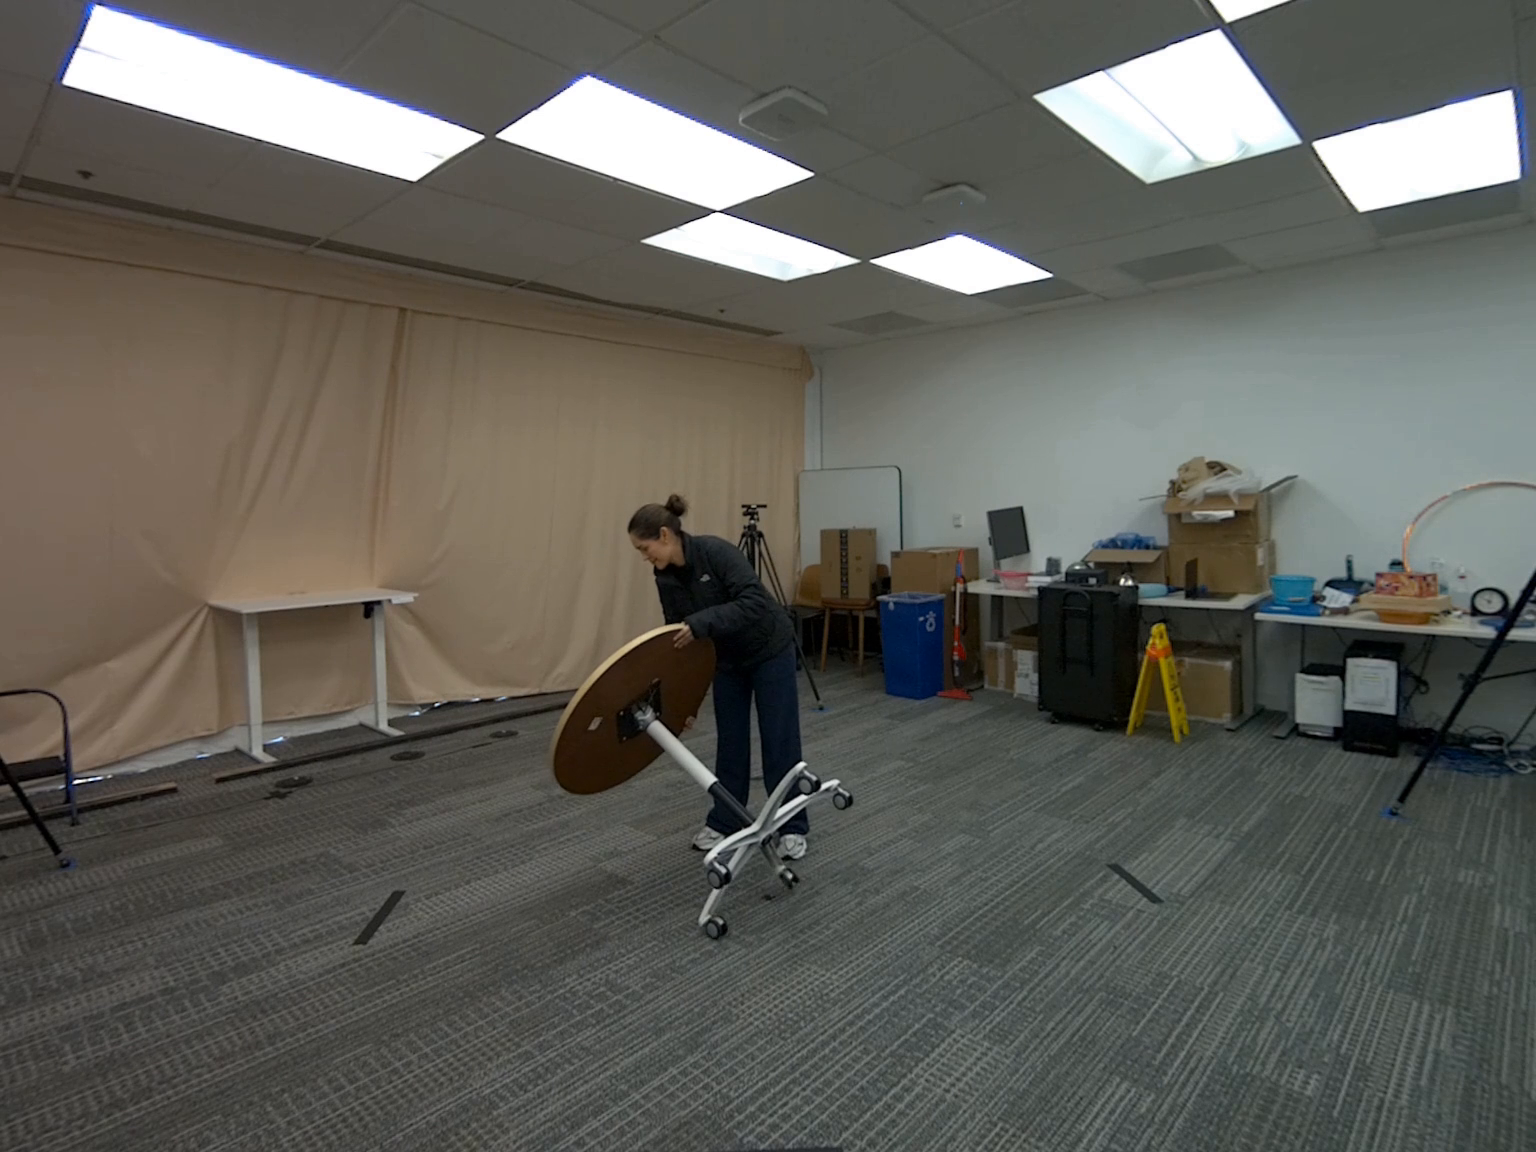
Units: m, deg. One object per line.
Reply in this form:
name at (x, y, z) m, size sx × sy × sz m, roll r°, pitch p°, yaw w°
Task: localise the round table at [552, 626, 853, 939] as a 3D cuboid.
round table at (-0.196, 0.695, 2.941) m, size 0.812 × 0.783 × 0.762 m, roll 36°, pitch 24°, yaw 29°
